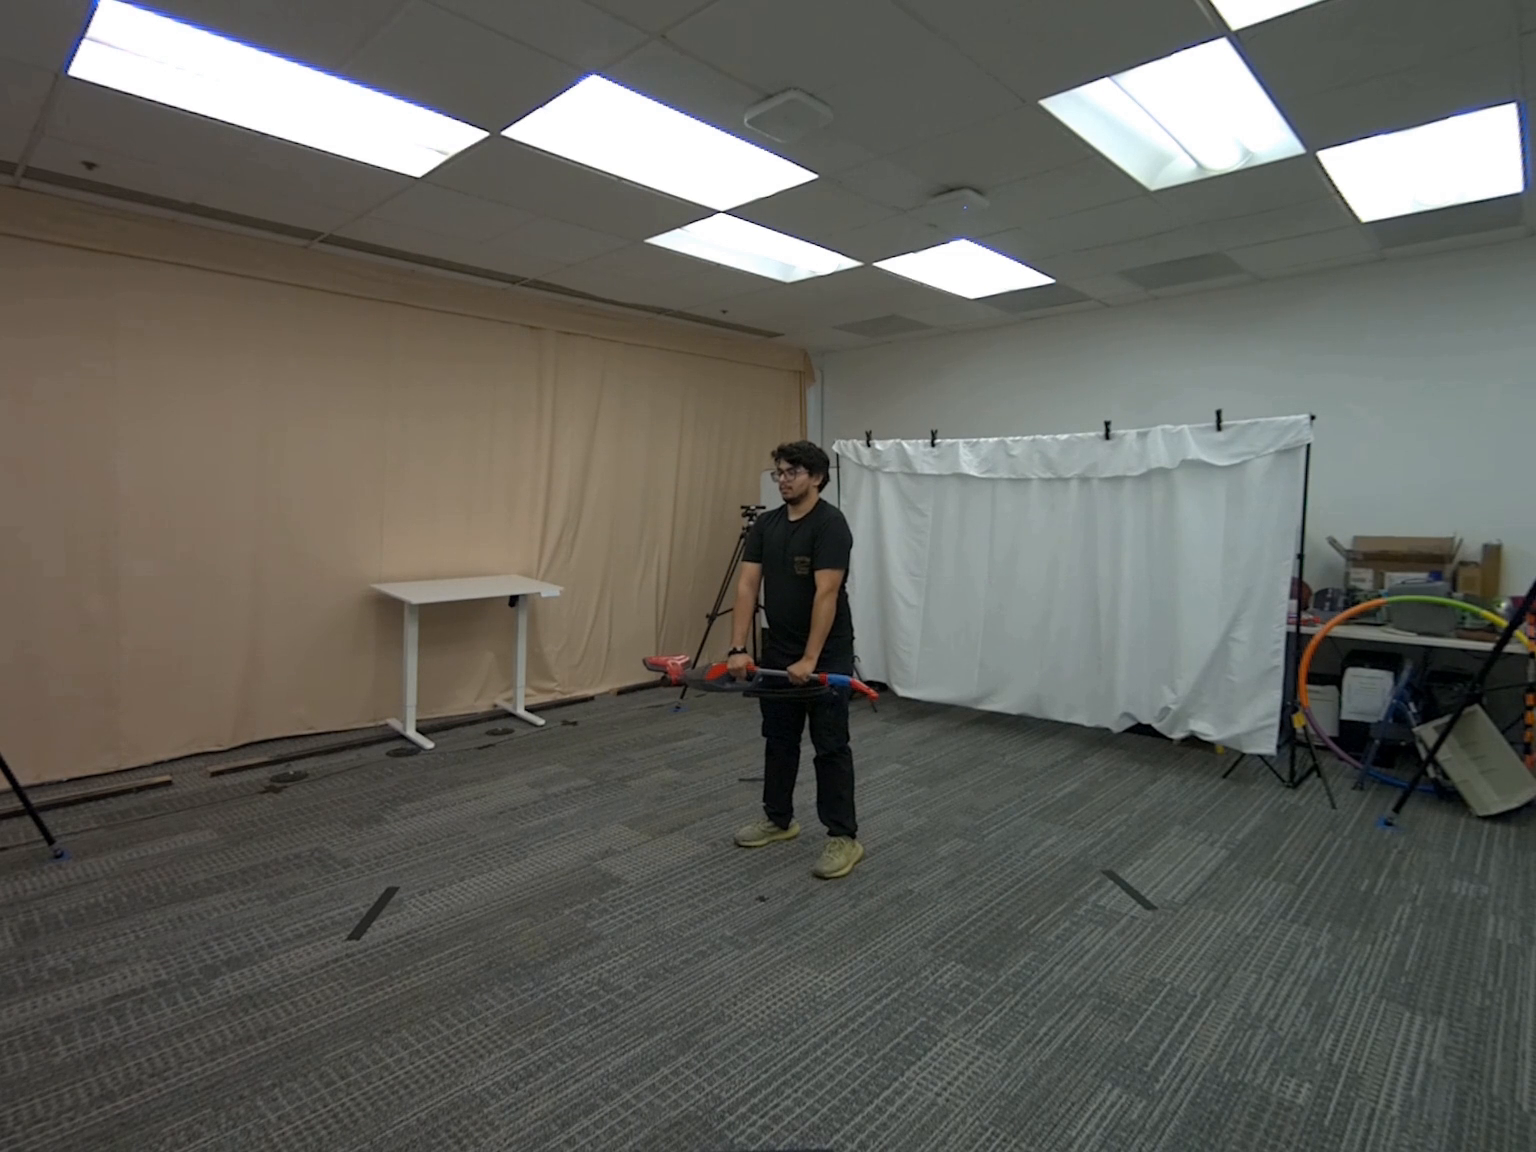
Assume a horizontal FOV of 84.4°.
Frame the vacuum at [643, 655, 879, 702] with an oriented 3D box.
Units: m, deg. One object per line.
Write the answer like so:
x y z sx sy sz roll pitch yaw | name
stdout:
-0.033 0.408 3.202 0.244 0.144 1.083 10 -6 -44 | vacuum
